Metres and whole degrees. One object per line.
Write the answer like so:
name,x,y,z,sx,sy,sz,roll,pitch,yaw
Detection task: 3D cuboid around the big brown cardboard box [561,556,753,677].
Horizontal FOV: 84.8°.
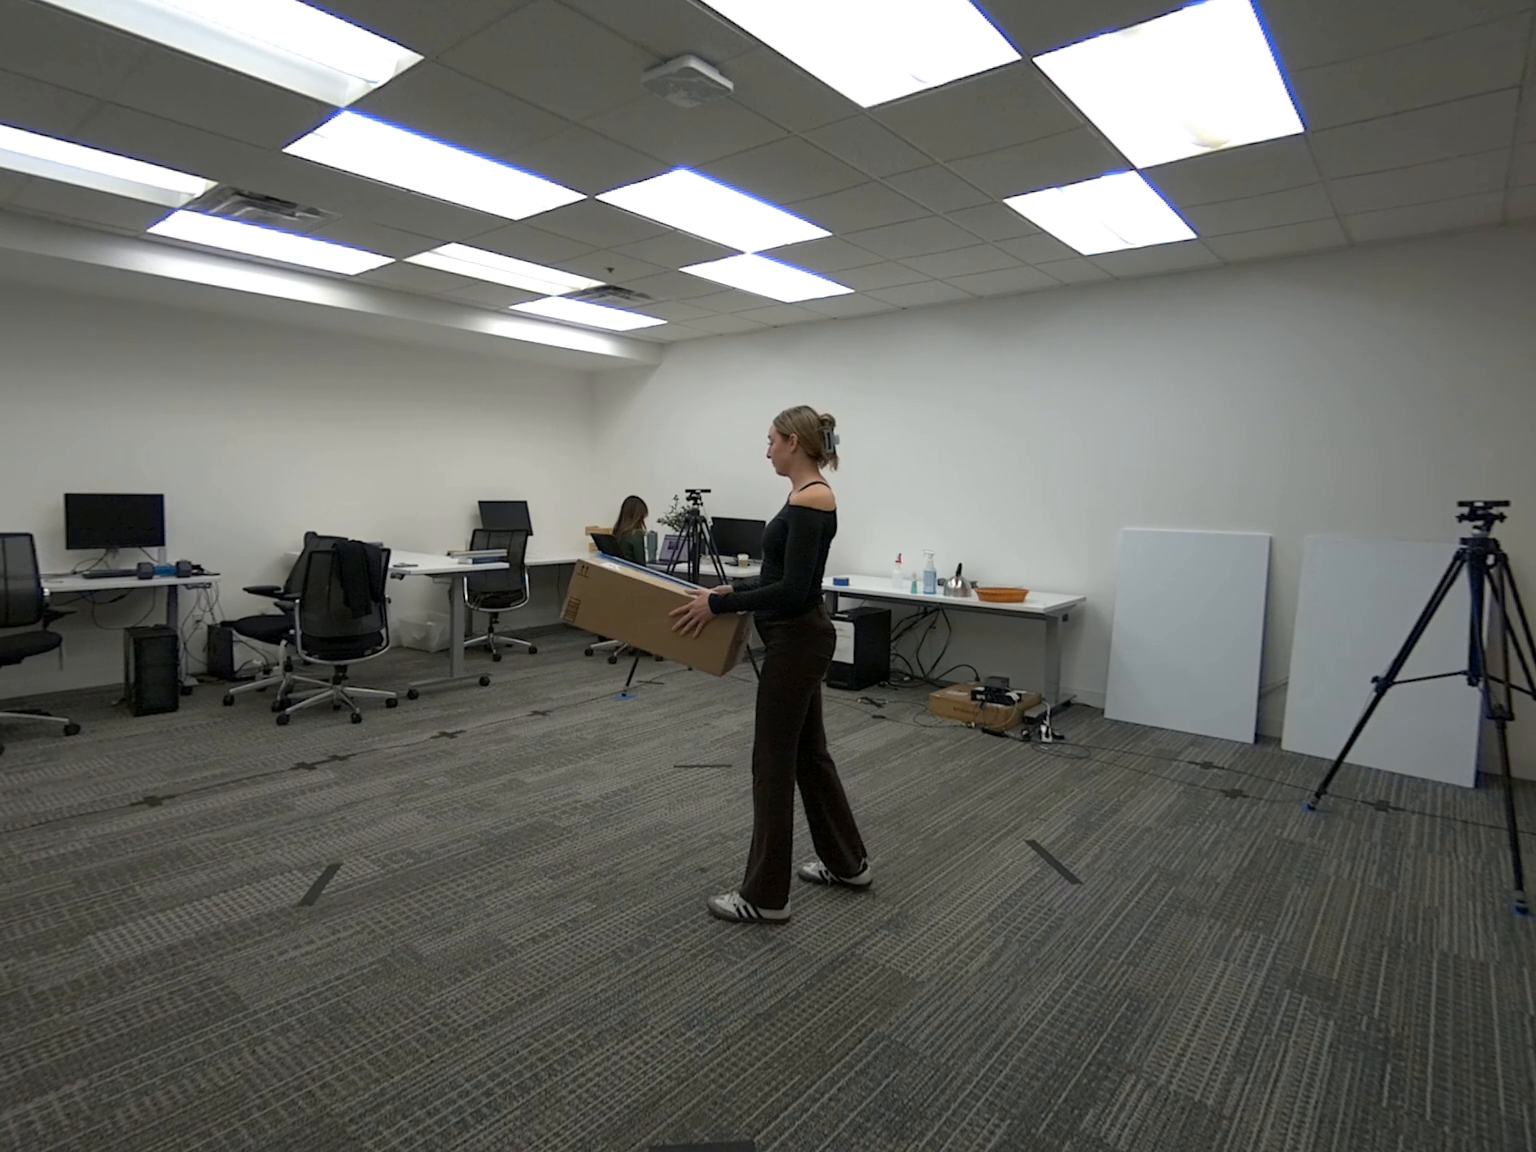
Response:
big brown cardboard box,-0.368,0.116,2.924,0.597,0.232,0.413,19,4,9
